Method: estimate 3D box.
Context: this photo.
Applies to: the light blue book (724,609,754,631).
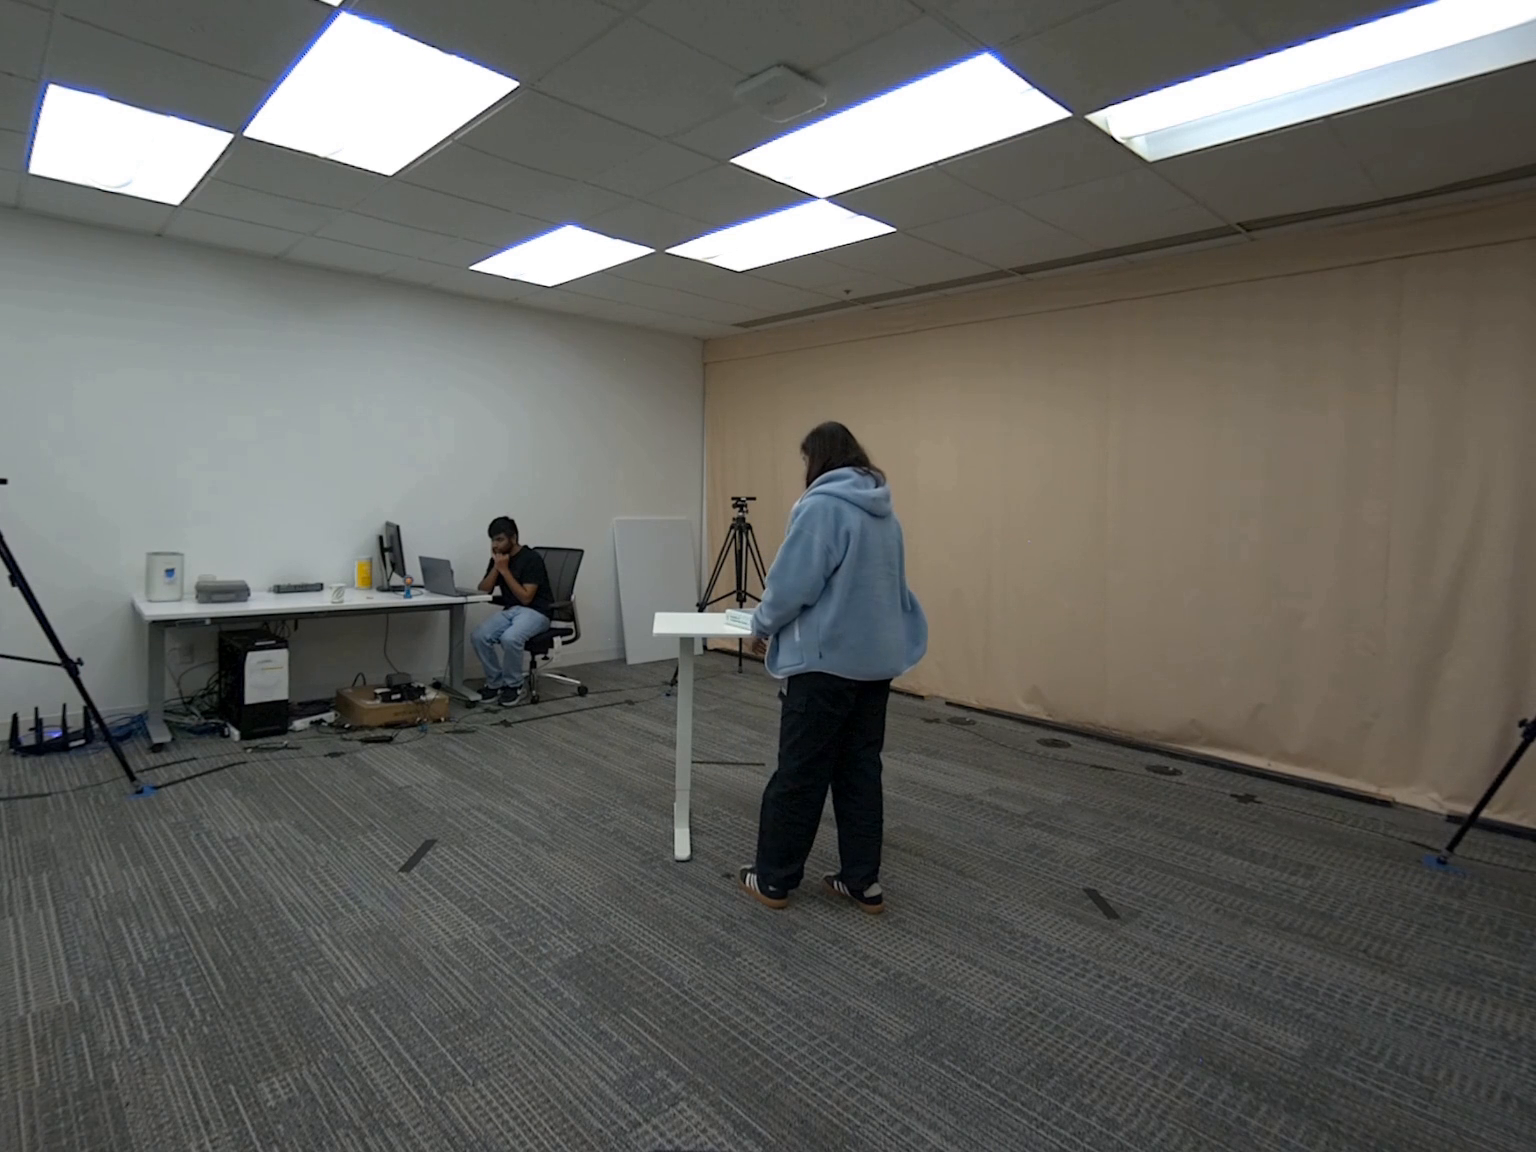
[{"bbox_3d":[-0.036,0.175,3.379,0.187,0.059,0.267,-3,6,-31],"label":"light blue book"}]
